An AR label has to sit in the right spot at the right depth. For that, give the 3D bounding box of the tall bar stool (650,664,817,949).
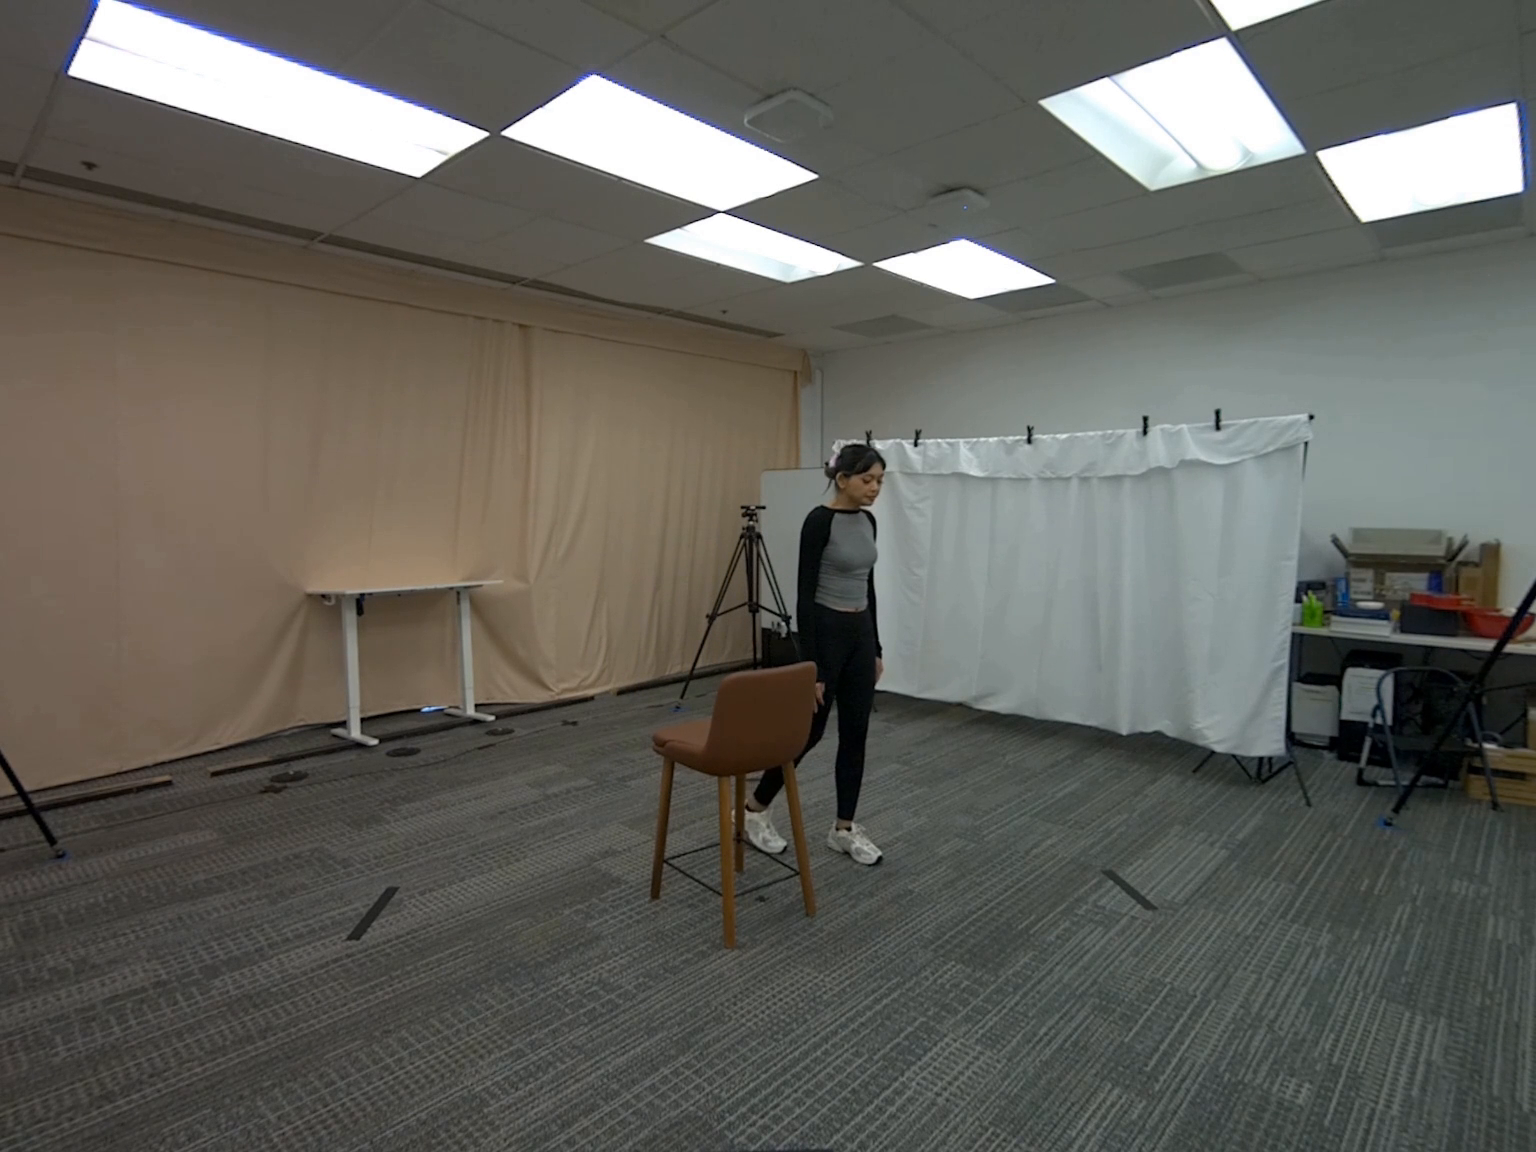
[{"bbox_3d":[-0.118,0.714,2.902,0.443,0.887,0.483,-3,6,-38],"label":"tall bar stool"}]
